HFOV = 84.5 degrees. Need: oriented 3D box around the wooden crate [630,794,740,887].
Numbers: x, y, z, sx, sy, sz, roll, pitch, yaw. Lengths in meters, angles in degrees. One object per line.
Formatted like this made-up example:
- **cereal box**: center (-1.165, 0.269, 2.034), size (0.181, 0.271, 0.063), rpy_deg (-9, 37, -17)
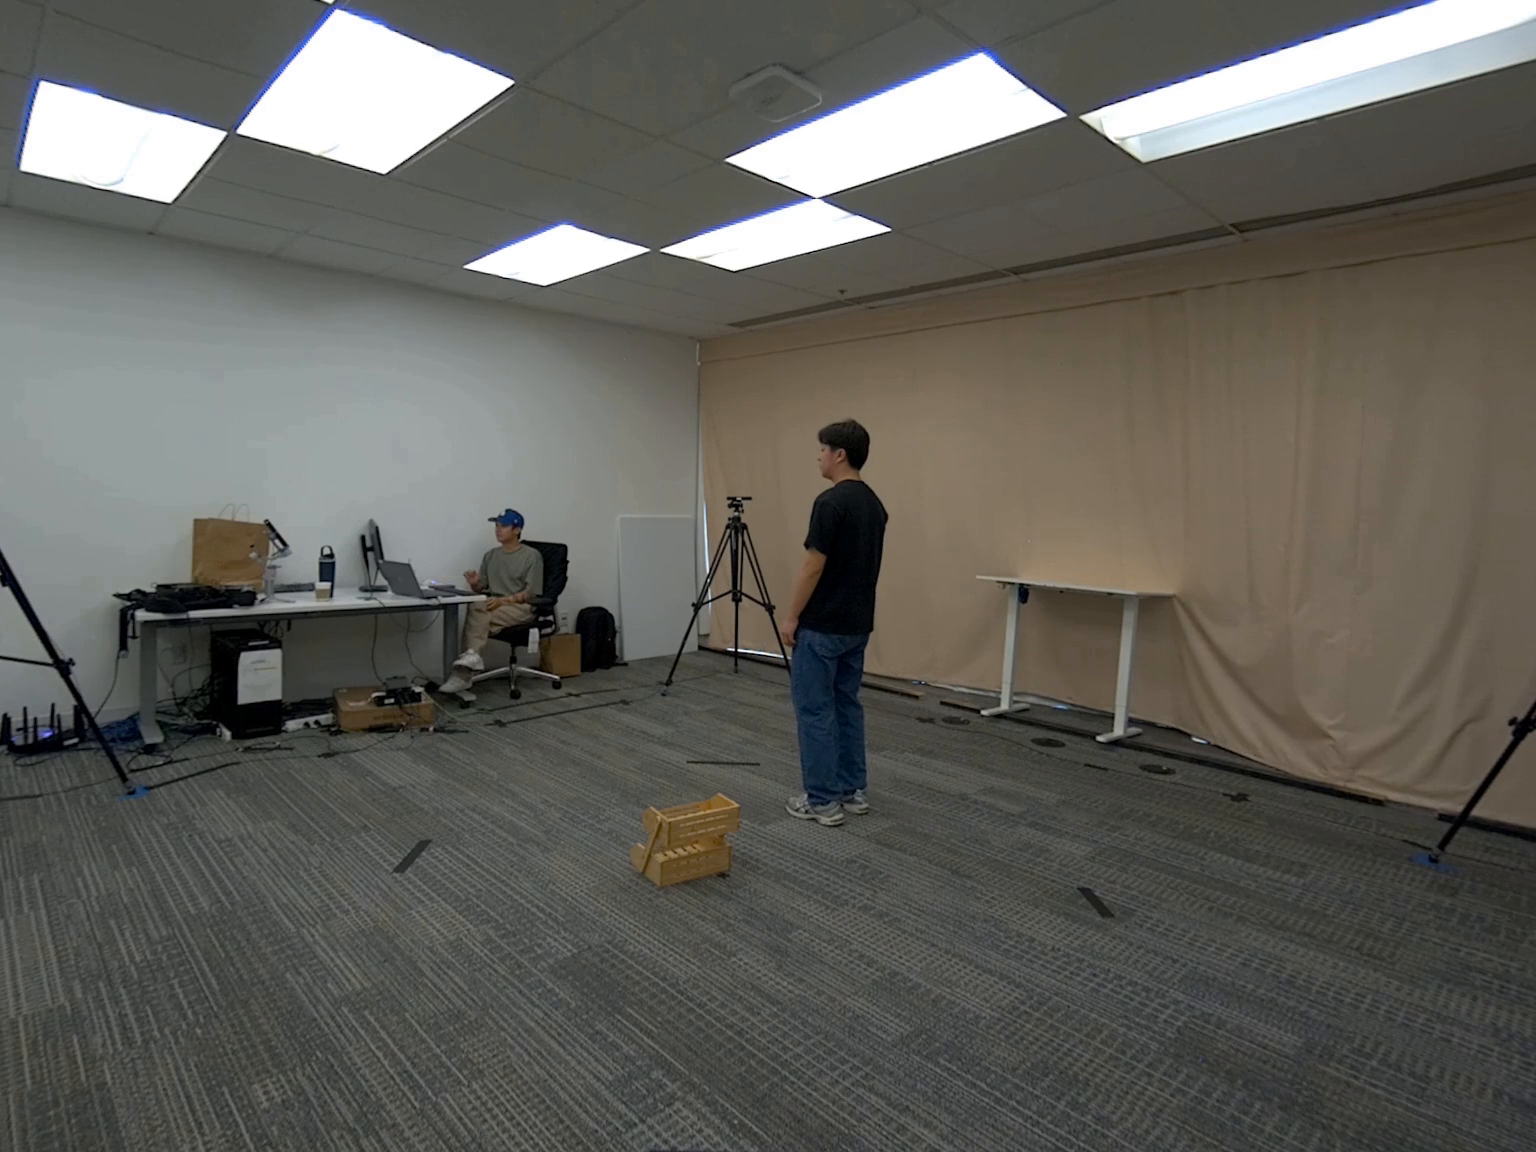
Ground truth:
- **wooden crate**: center (-0.321, 0.964, 3.154), size (0.317, 0.272, 0.309), rpy_deg (-1, 6, -34)
